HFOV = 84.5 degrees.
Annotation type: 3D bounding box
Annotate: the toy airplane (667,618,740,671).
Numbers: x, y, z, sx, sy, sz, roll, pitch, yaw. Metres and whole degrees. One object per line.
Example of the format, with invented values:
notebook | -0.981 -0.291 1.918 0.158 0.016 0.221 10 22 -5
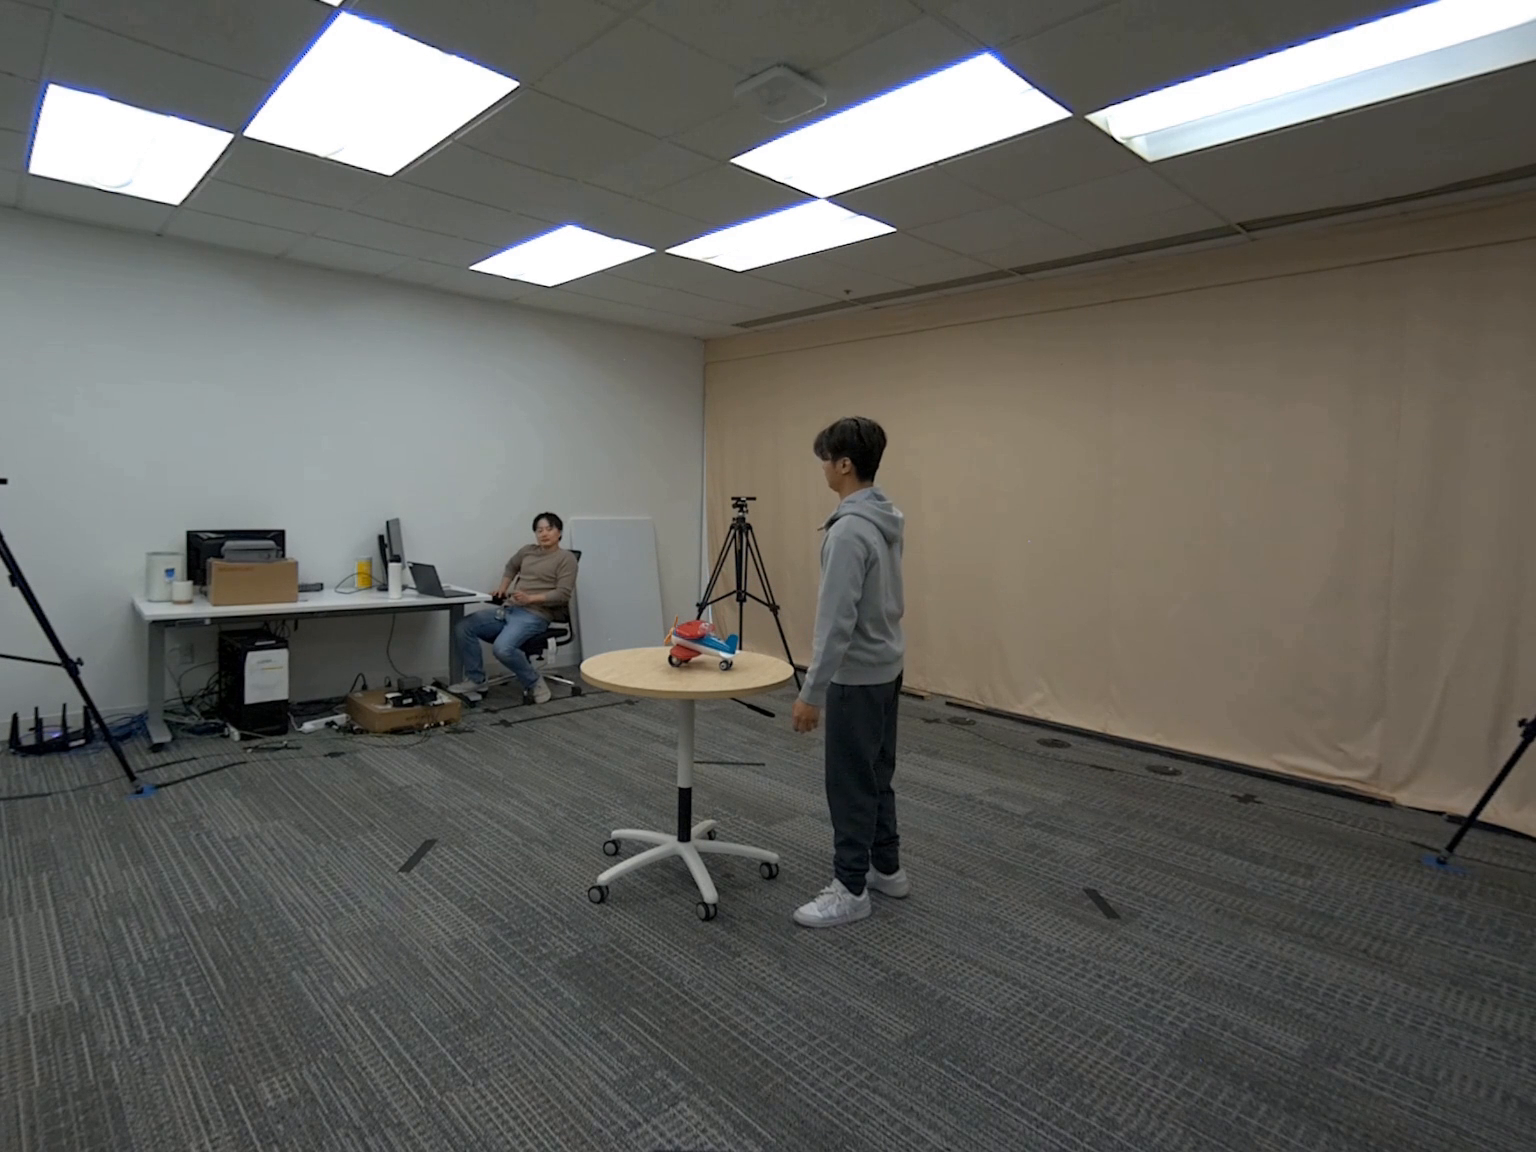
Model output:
toy airplane | -0.231 0.250 3.046 0.257 0.156 0.254 1 5 -11
